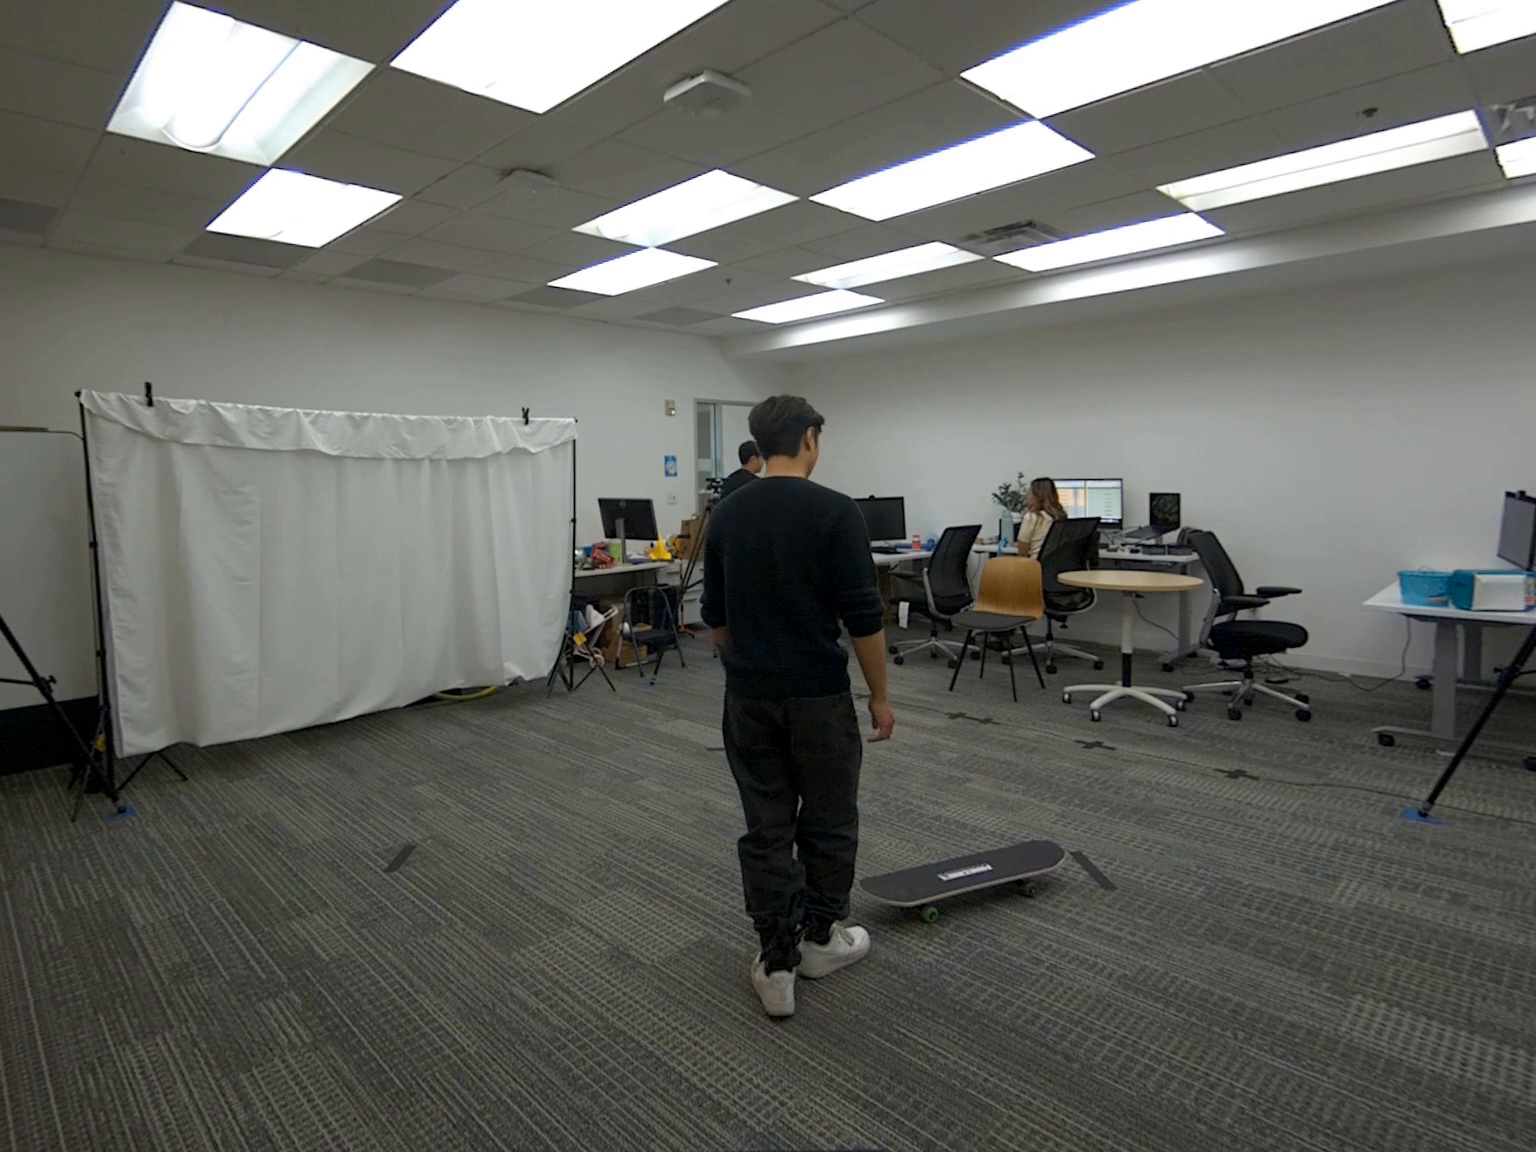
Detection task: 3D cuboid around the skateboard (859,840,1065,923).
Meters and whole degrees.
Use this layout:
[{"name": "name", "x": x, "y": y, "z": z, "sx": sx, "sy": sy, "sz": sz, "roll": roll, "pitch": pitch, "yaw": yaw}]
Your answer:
[{"name": "skateboard", "x": 0.649, "y": 1.005, "z": 2.816, "sx": 0.770, "sy": 0.110, "sz": 0.198, "roll": -4, "pitch": 7, "yaw": -23}]
